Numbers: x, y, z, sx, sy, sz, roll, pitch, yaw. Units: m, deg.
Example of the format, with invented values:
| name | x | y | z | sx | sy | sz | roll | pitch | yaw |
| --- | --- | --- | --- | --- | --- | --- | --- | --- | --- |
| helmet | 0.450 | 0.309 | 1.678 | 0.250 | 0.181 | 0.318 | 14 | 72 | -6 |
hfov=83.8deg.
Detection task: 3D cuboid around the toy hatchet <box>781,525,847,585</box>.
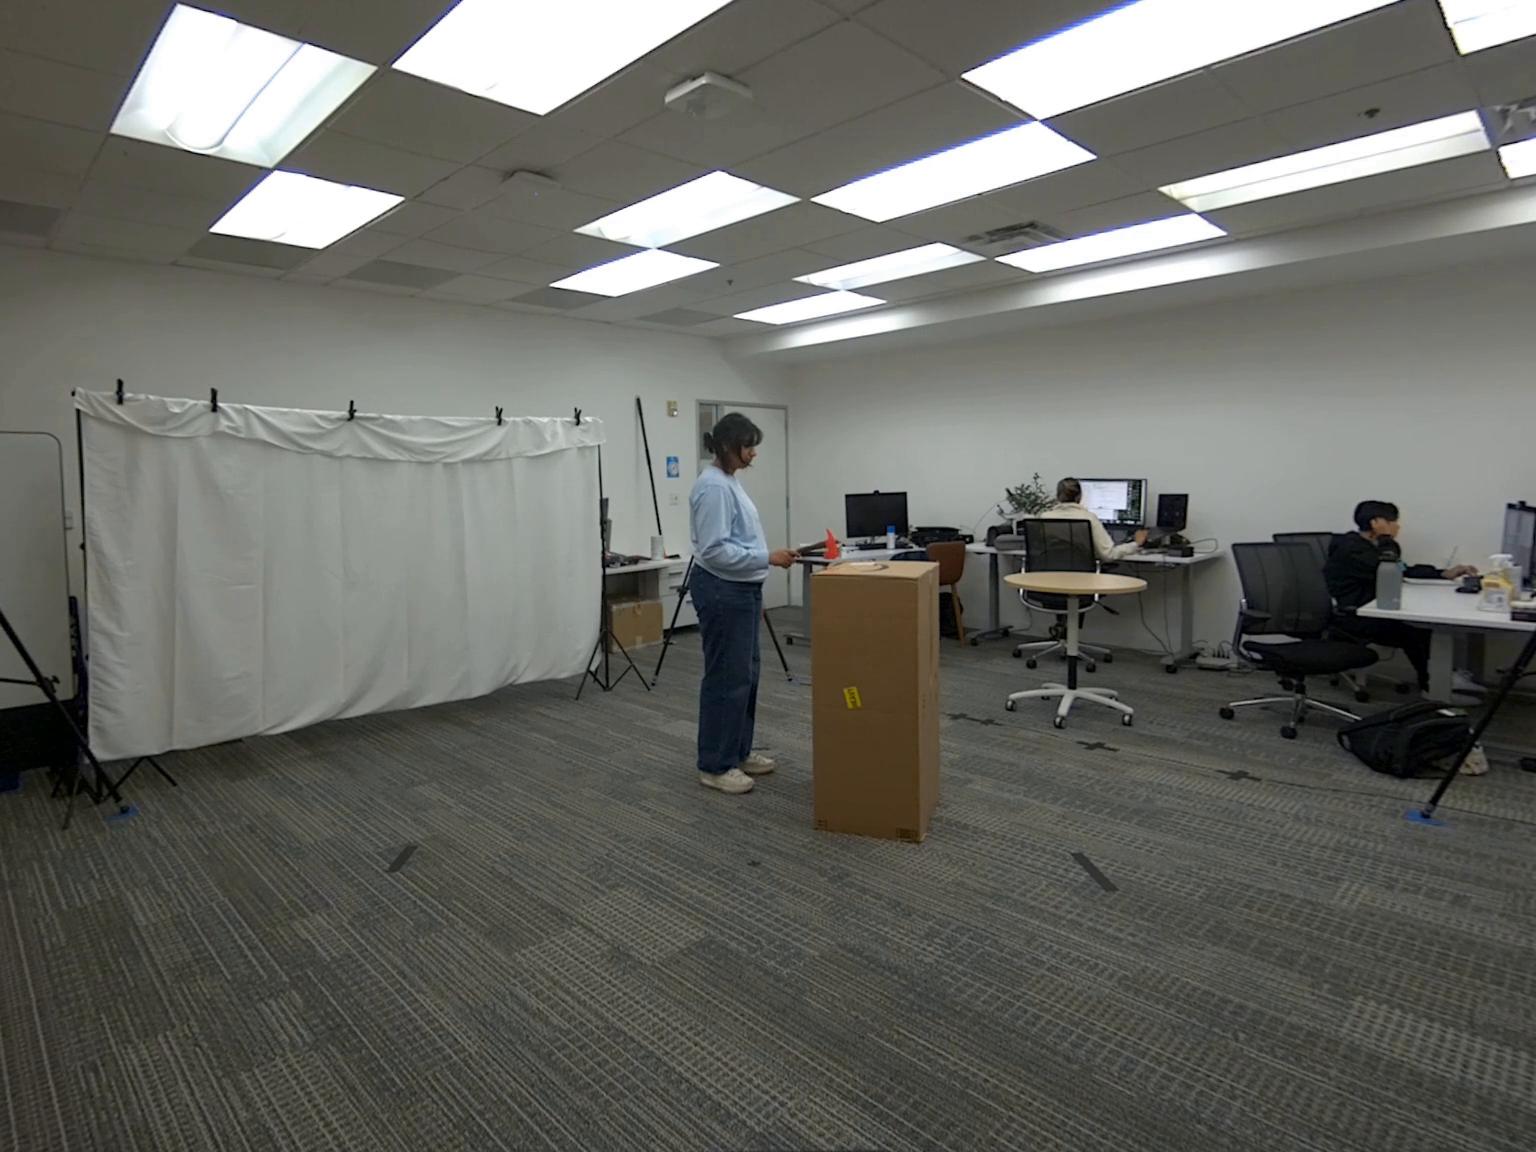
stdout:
| name | x | y | z | sx | sy | sz | roll | pitch | yaw |
| --- | --- | --- | --- | --- | --- | --- | --- | --- | --- |
| toy hatchet | 0.182 | -0.092 | 3.673 | 0.271 | 0.130 | 0.029 | -31 | 4 | 10 |
